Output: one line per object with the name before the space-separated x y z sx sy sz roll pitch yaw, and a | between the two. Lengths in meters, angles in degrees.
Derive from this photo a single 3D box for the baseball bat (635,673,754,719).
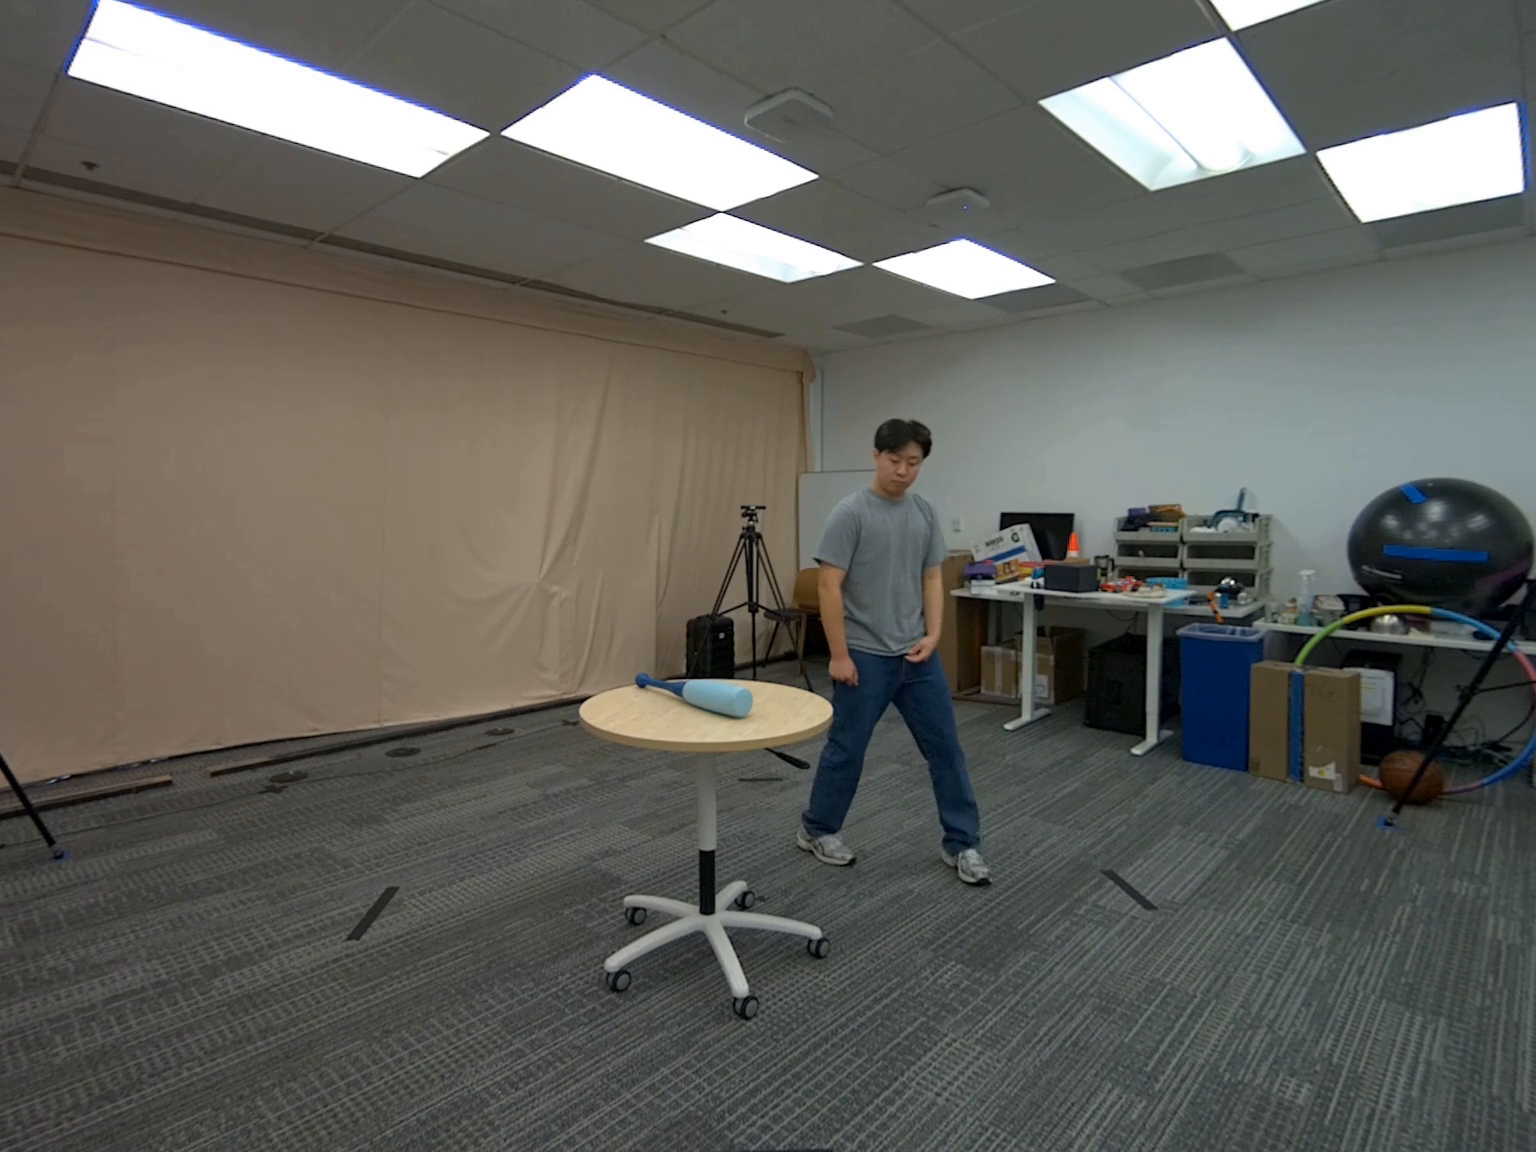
baseball bat | -0.246 0.357 2.609 0.086 0.089 0.560 -3 3 -40
